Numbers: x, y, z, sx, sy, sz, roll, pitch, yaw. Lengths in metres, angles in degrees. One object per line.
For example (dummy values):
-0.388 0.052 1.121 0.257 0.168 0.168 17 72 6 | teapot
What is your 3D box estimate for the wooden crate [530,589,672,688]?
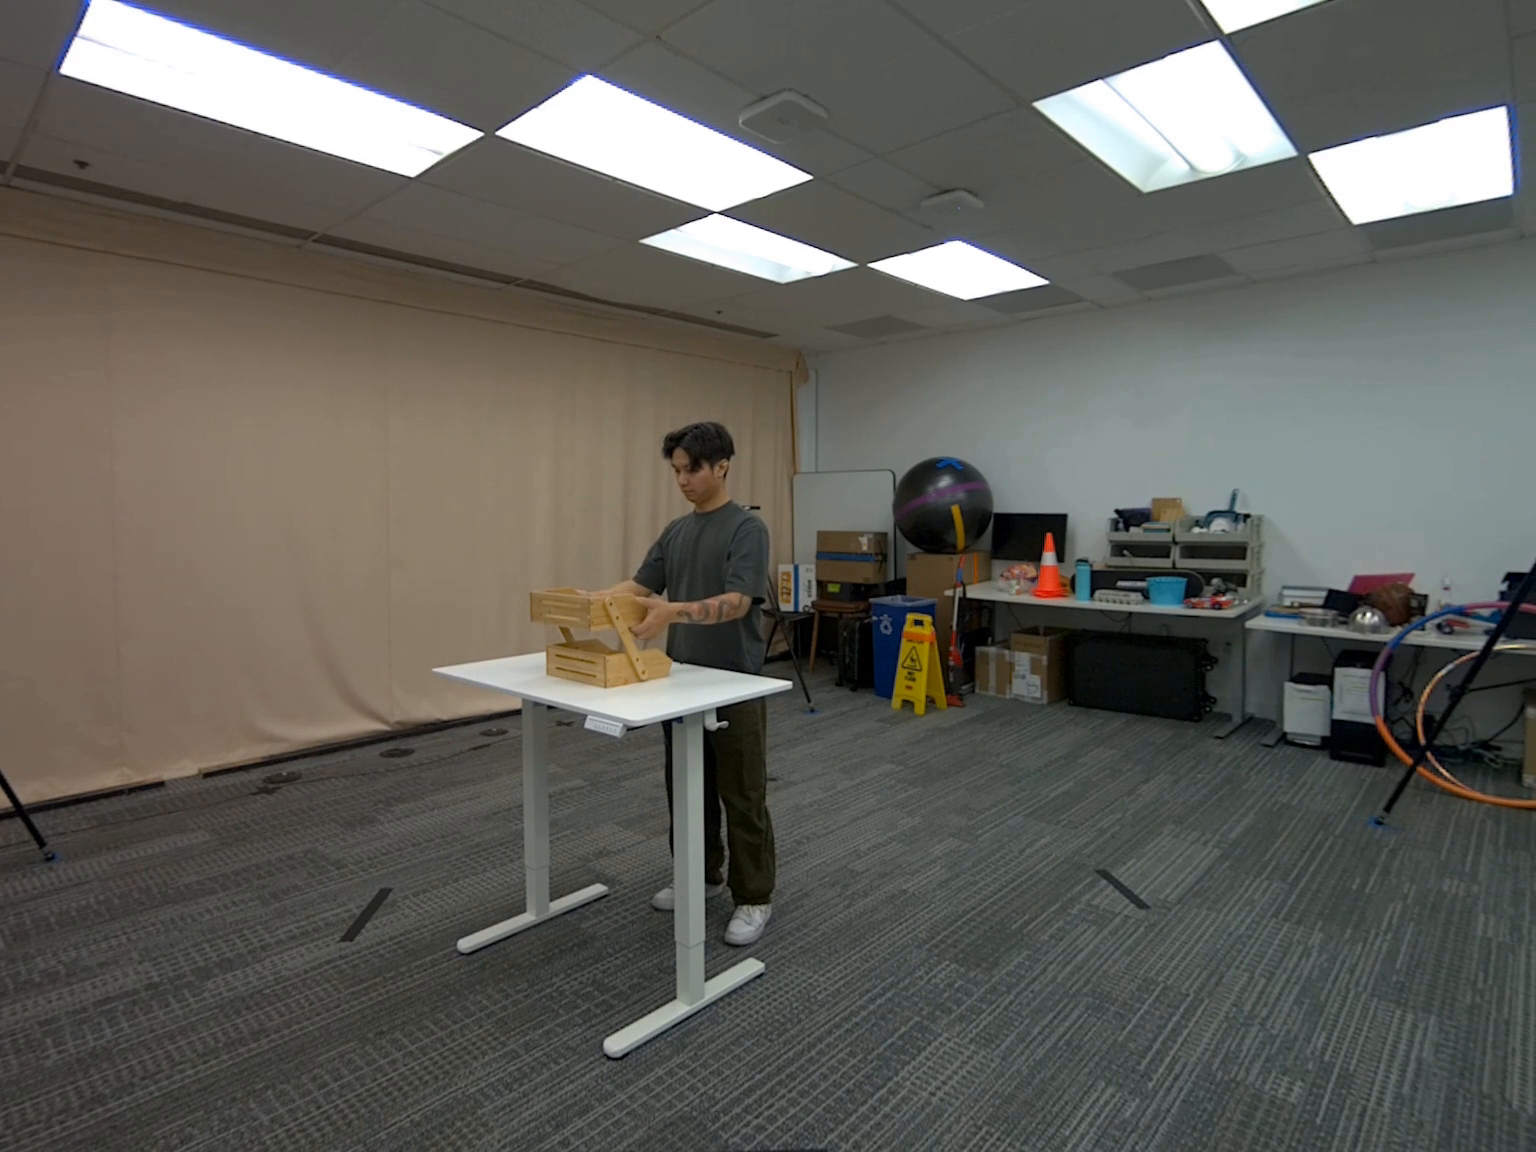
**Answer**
-0.503 0.172 2.522 0.335 0.273 0.293 3 5 43 | wooden crate
